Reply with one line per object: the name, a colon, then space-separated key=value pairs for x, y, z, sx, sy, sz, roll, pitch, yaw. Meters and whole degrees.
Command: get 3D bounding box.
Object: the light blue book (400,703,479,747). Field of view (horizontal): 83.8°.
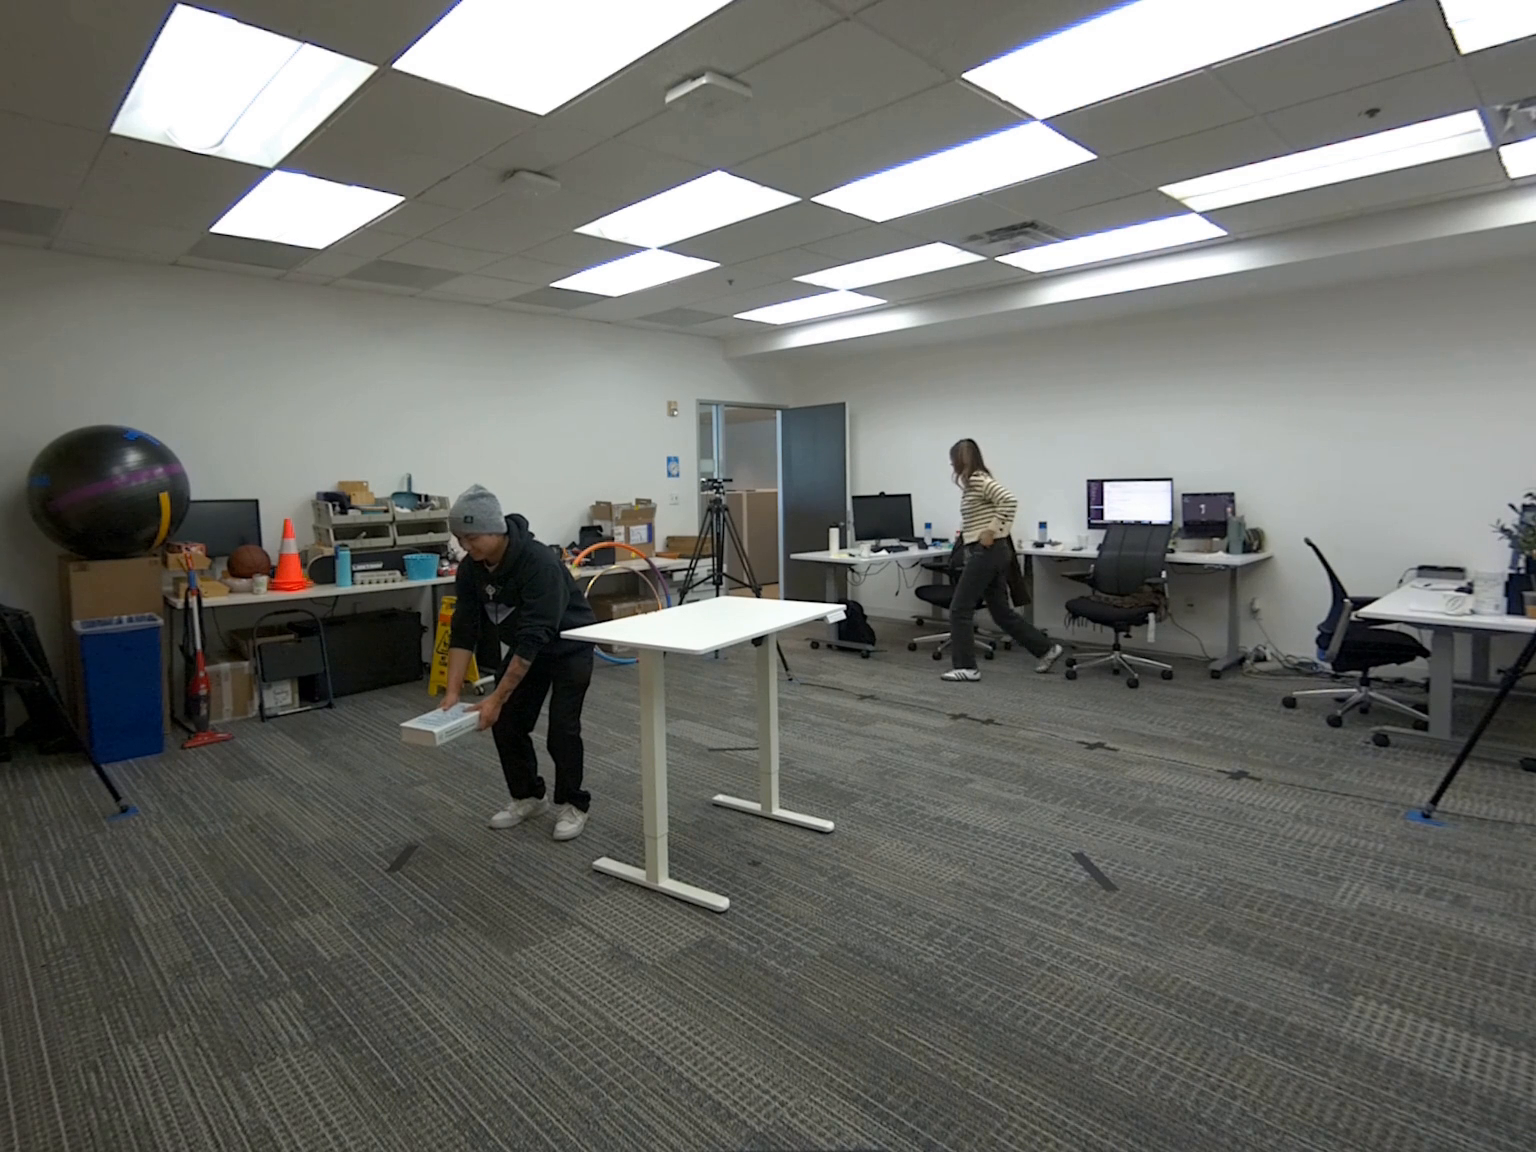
light blue book: x=-1.166 y=0.533 z=3.084 sx=0.196 sy=0.058 sz=0.256 roll=2 pitch=11 yaw=28
